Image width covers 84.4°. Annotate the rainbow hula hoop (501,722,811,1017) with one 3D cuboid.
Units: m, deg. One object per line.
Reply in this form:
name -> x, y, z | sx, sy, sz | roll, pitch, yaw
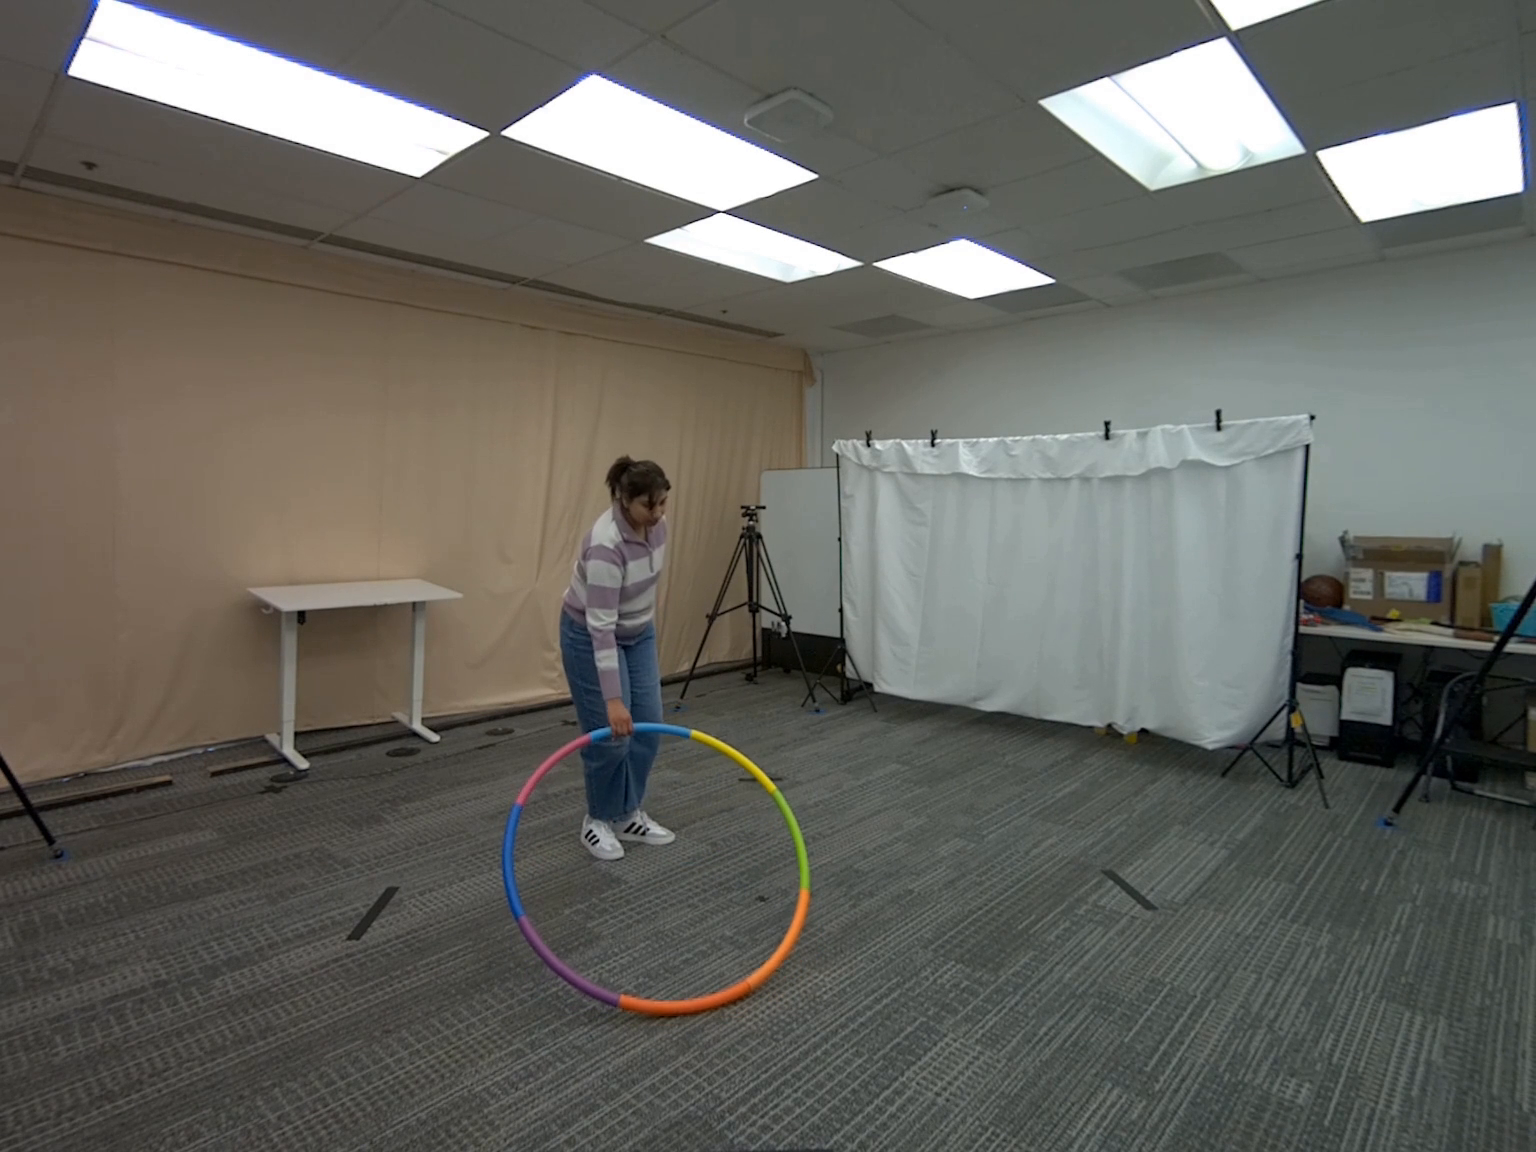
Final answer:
rainbow hula hoop -> -0.319, 0.868, 2.667 | 0.976, 0.051, 1.004 | 8, 39, -9
